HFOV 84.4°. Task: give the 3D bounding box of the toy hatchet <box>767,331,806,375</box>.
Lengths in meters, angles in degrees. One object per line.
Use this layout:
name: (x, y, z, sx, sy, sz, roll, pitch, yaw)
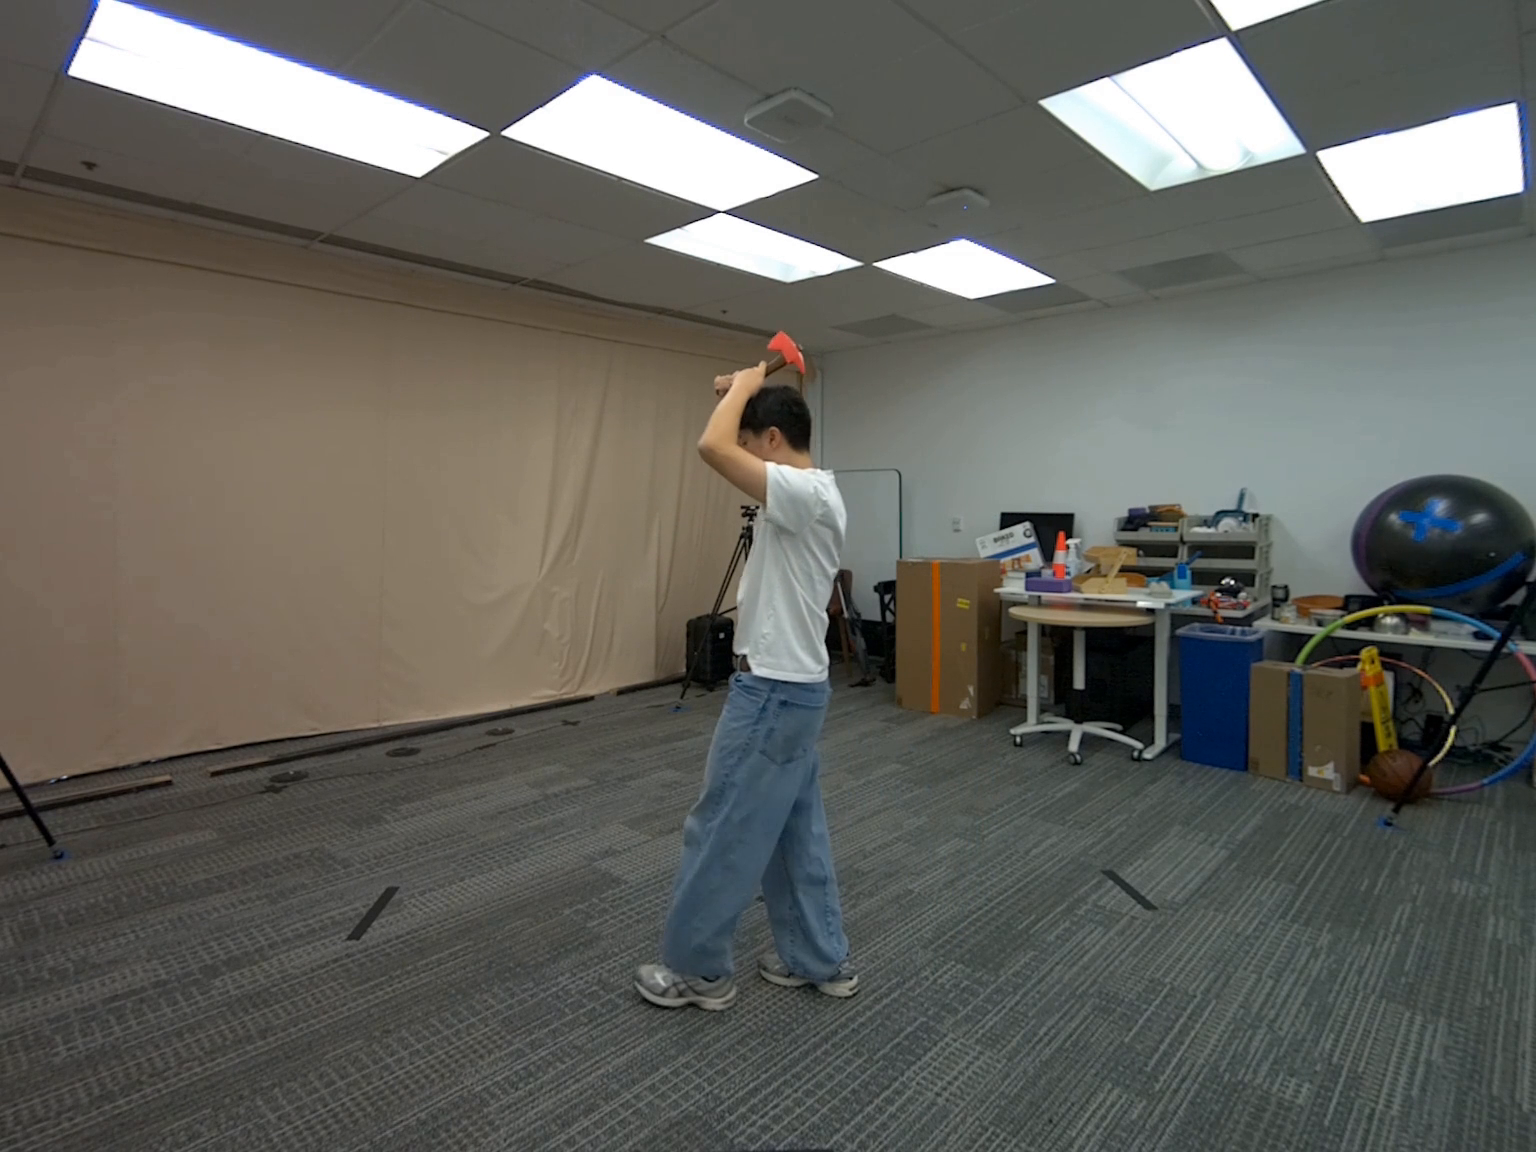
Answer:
toy hatchet: (-0.030, -0.604, 2.358, 0.274, 0.131, 0.029, -10, 3, 16)
